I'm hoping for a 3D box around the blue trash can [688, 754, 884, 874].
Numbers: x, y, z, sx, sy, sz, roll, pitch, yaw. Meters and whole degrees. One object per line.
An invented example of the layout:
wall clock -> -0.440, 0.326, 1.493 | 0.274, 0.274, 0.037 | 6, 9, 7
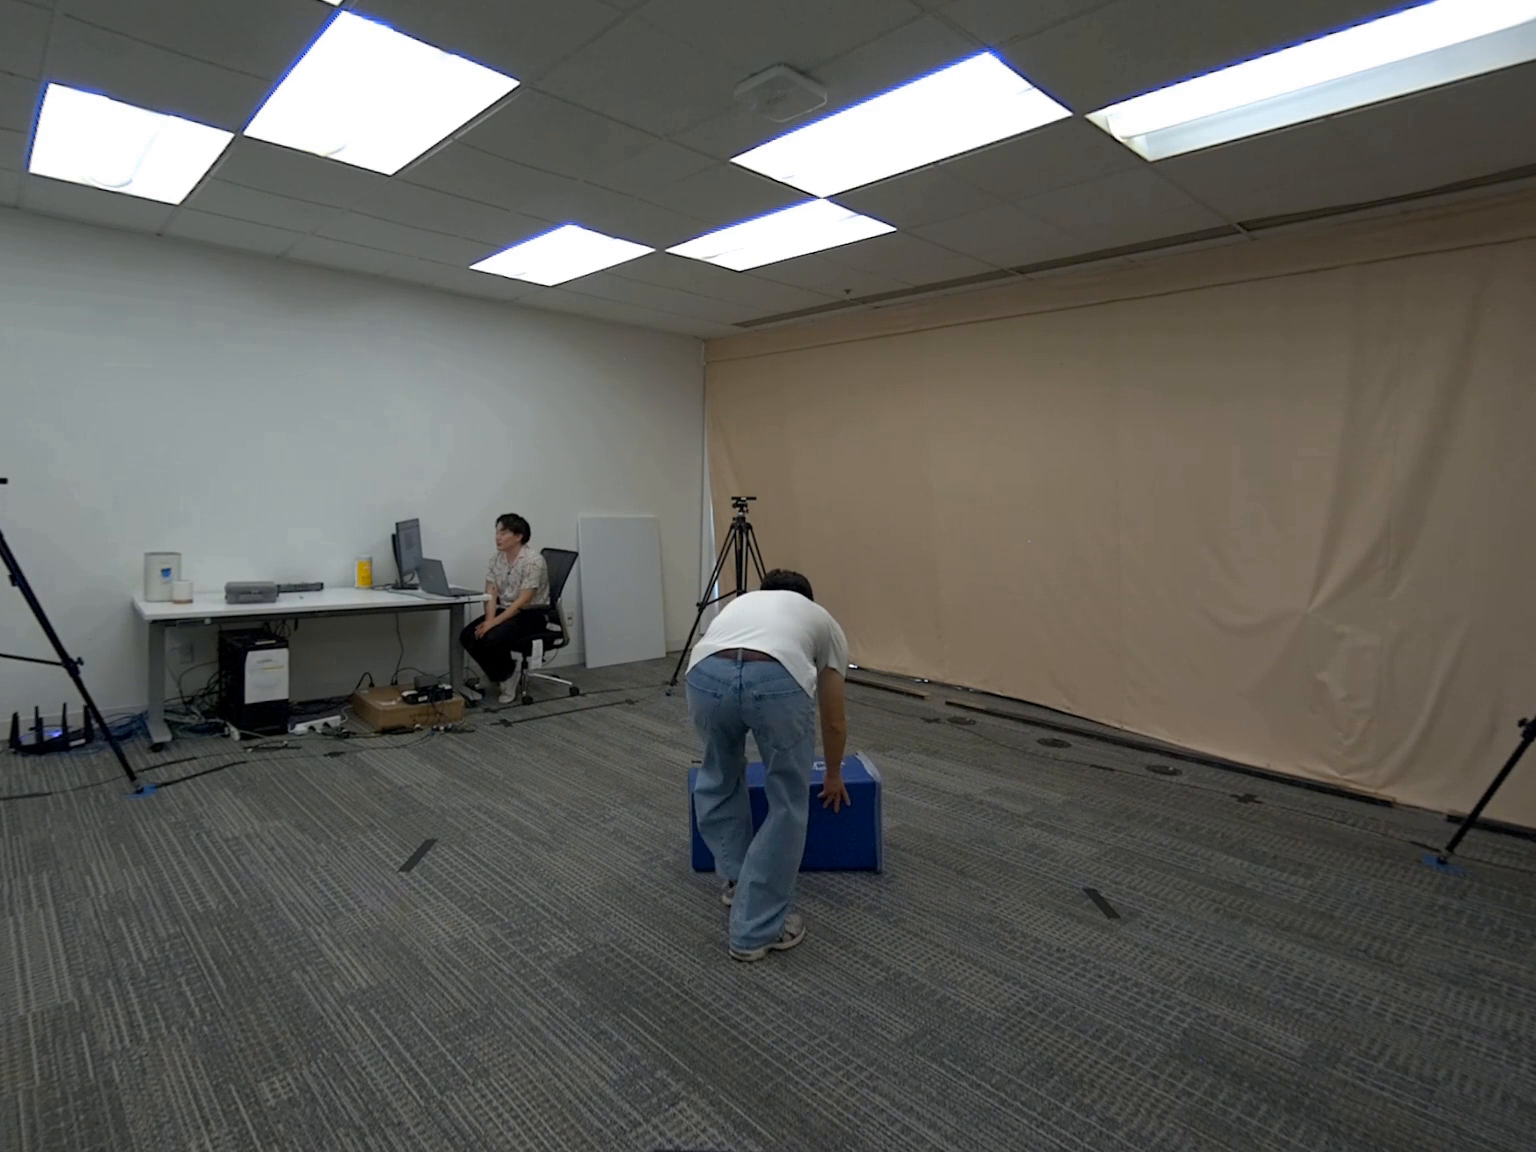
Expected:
blue trash can -> 0.053, 0.931, 3.281 | 0.710, 0.377, 0.376 | -2, 3, -6
